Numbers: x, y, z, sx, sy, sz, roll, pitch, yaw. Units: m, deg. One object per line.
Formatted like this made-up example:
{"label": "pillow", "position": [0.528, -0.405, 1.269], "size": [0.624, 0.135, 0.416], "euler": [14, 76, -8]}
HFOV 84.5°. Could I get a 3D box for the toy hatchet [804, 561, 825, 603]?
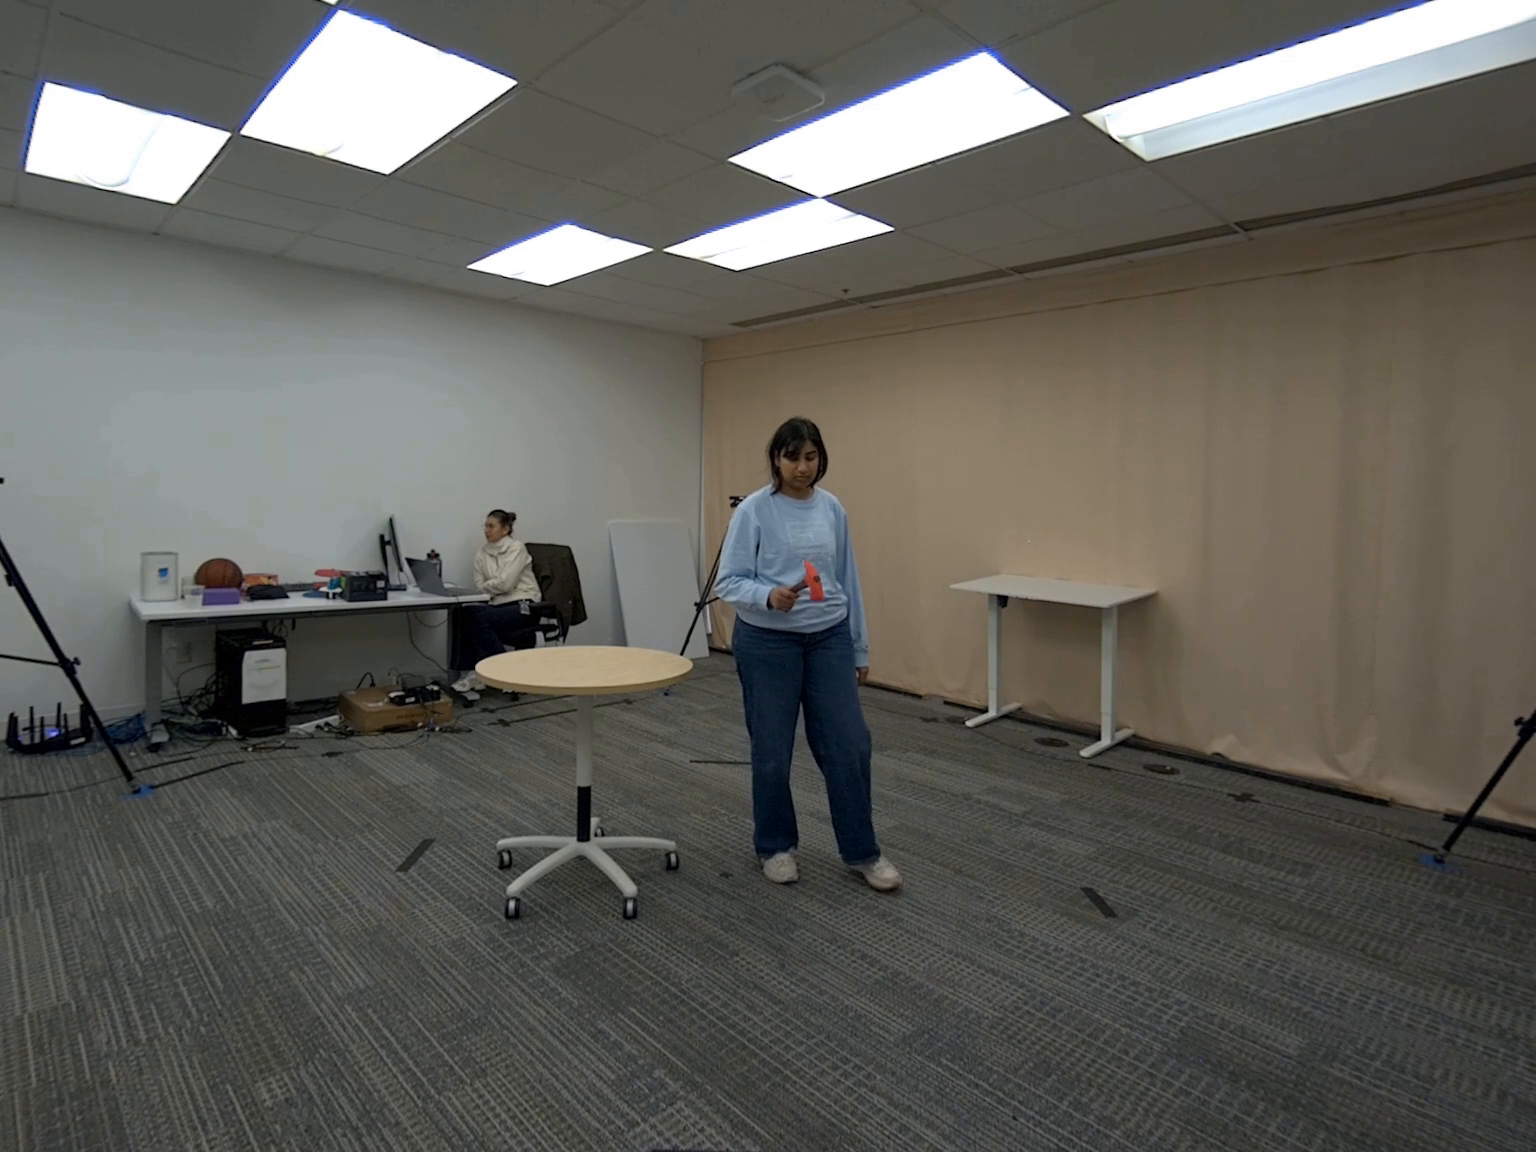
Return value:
{"label": "toy hatchet", "position": [0.113, 0.066, 2.729], "size": [0.029, 0.134, 0.267], "euler": [-21, -25, -26]}
